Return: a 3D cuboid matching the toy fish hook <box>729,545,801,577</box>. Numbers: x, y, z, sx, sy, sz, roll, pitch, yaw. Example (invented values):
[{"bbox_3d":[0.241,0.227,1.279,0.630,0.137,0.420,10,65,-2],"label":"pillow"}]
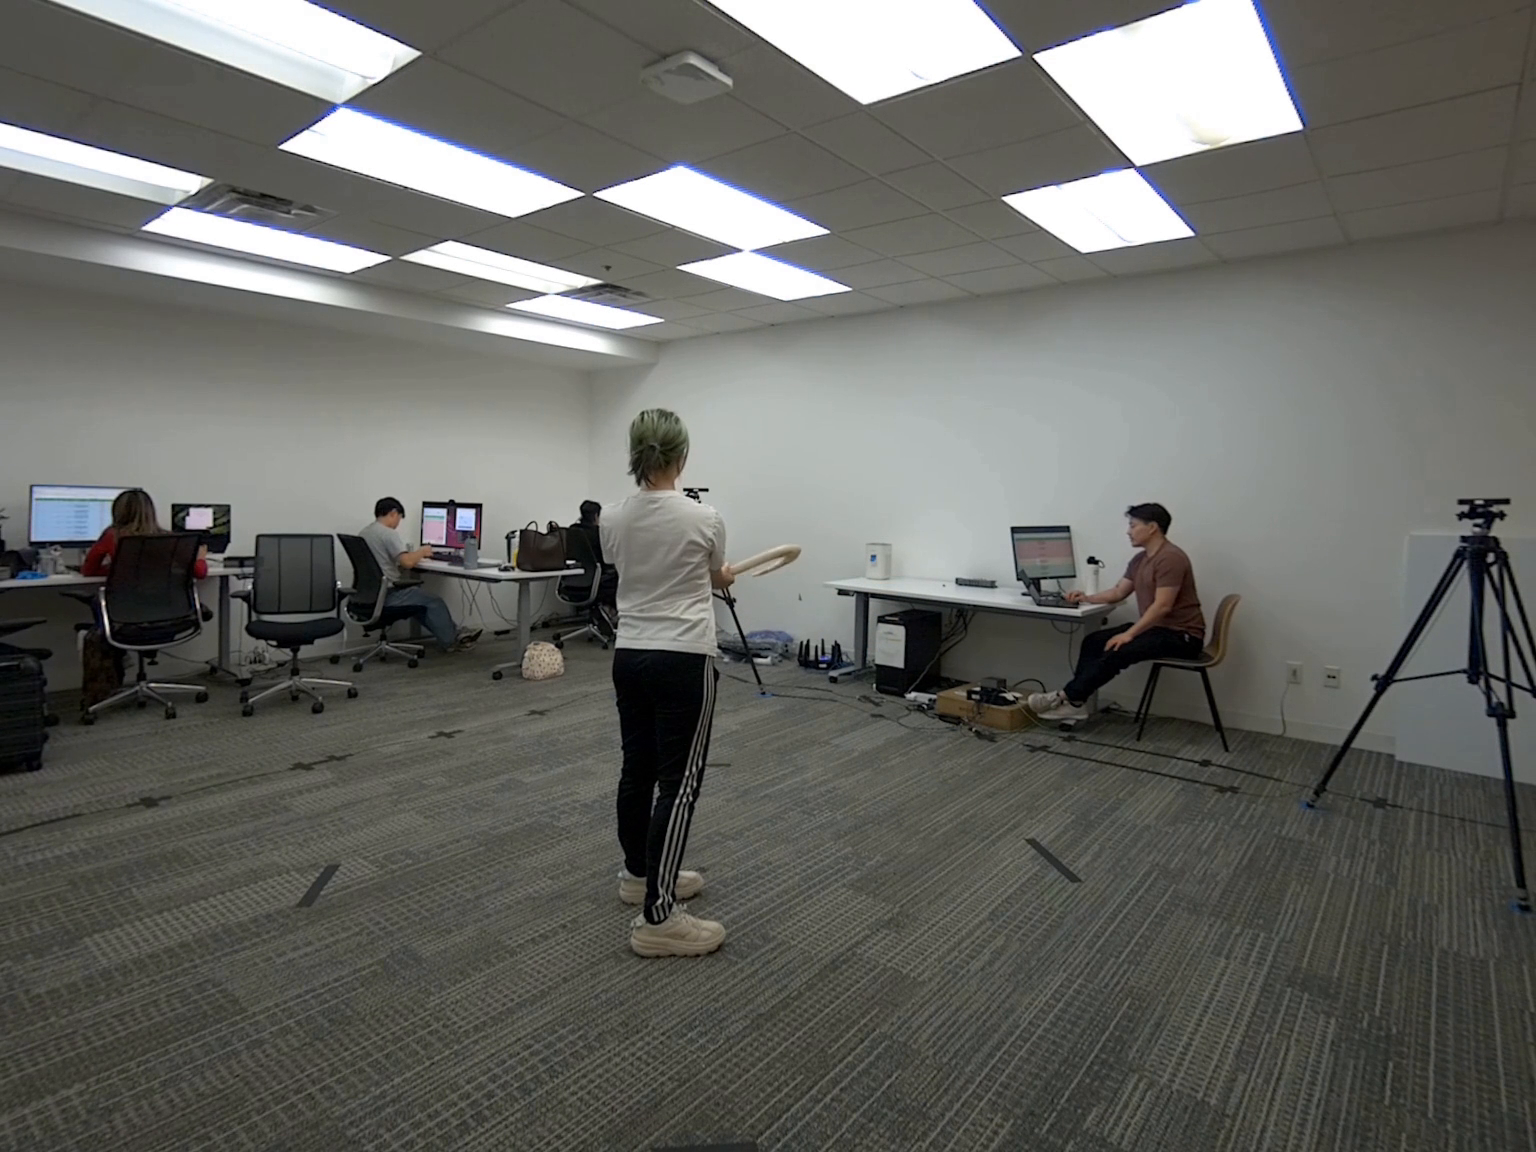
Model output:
[{"bbox_3d":[-0.116,-0.012,3.283,0.502,0.050,0.220,-19,-23,-12],"label":"toy fish hook"}]
